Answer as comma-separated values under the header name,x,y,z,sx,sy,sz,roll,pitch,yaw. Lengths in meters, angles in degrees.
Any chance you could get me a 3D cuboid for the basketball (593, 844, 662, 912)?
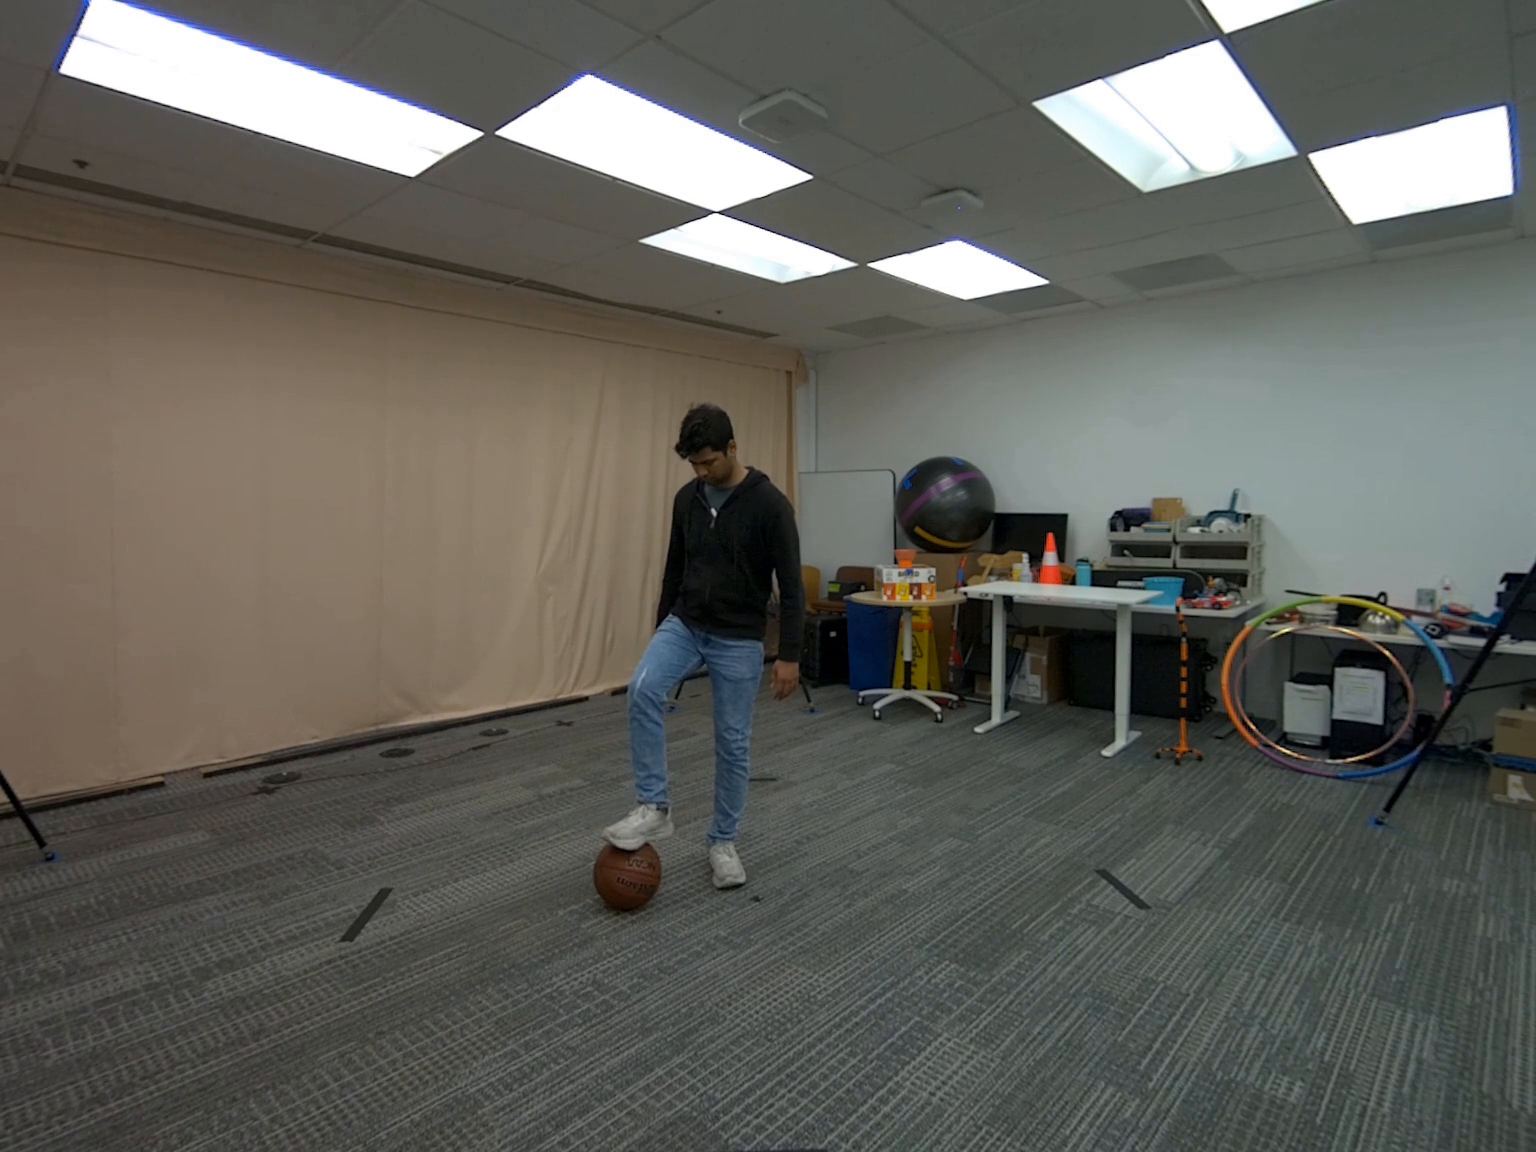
name,x,y,z,sx,sy,sz,roll,pitch,yaw
basketball,-0.488,1.035,2.948,0.236,0.235,0.237,0,4,-2
